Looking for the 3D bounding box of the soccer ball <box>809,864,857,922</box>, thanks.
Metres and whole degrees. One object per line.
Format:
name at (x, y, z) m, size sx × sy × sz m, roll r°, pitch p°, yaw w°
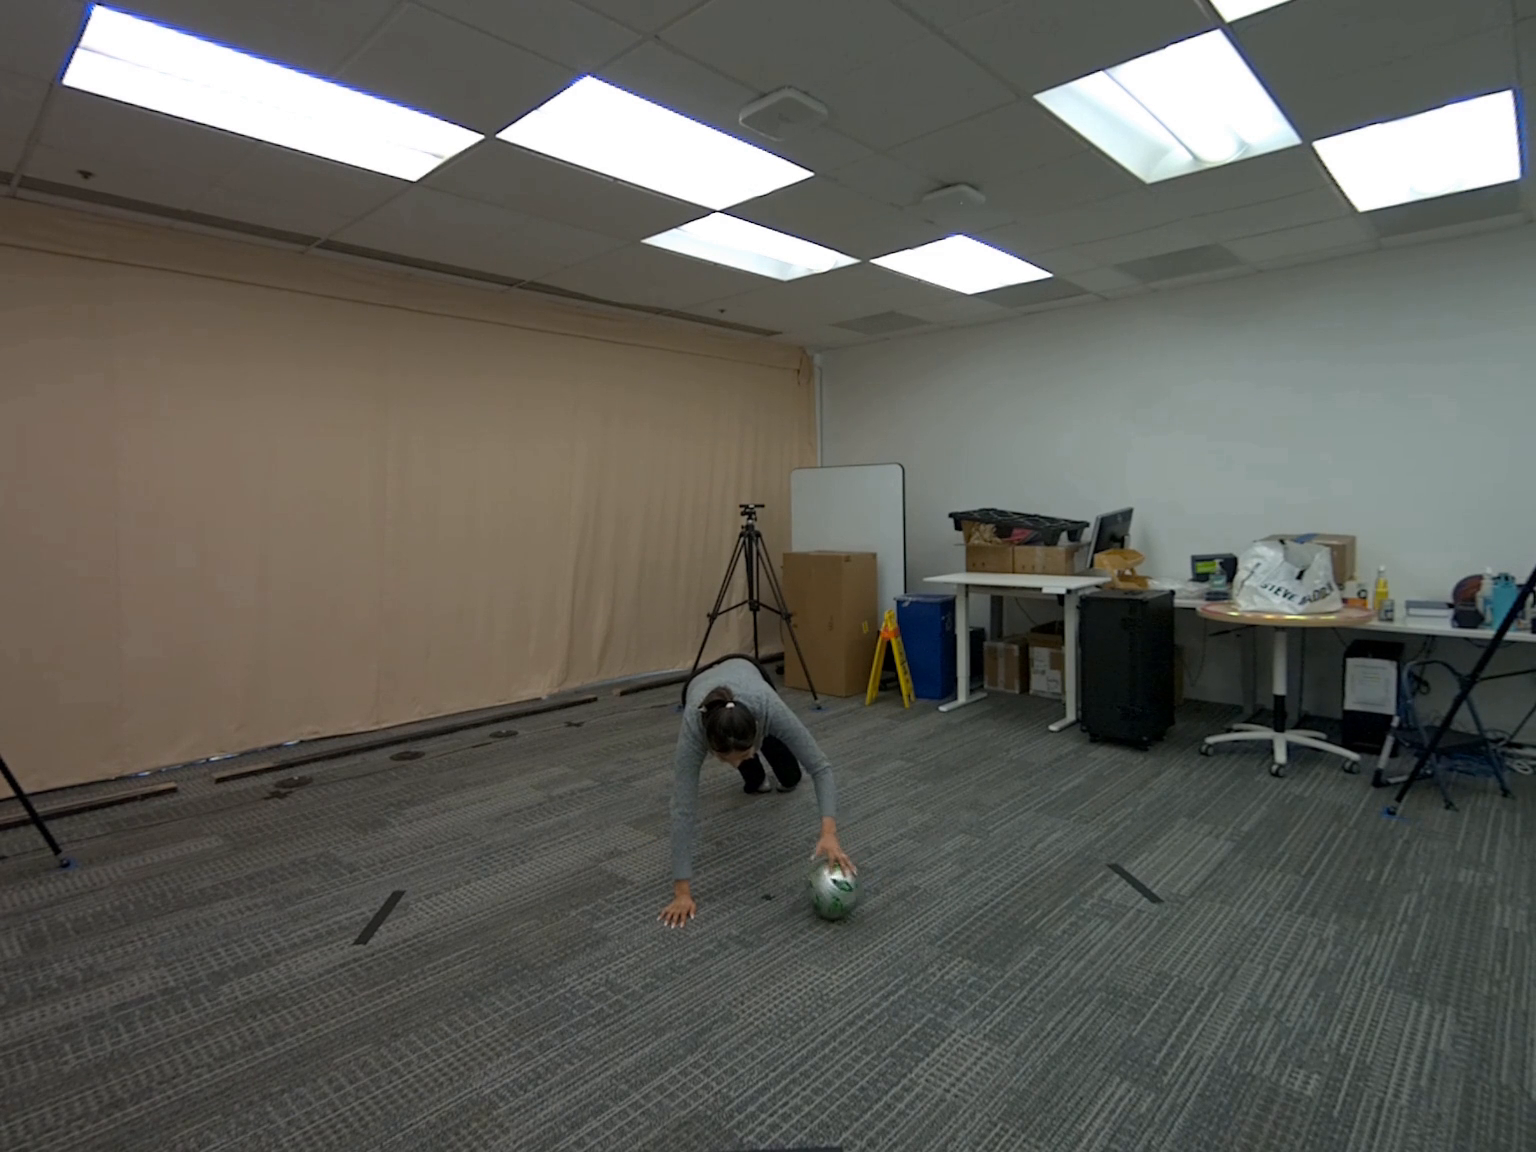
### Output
soccer ball at (0.213, 1.052, 2.838) m, size 0.187 × 0.187 × 0.188 m, roll -1°, pitch 4°, yaw -2°
